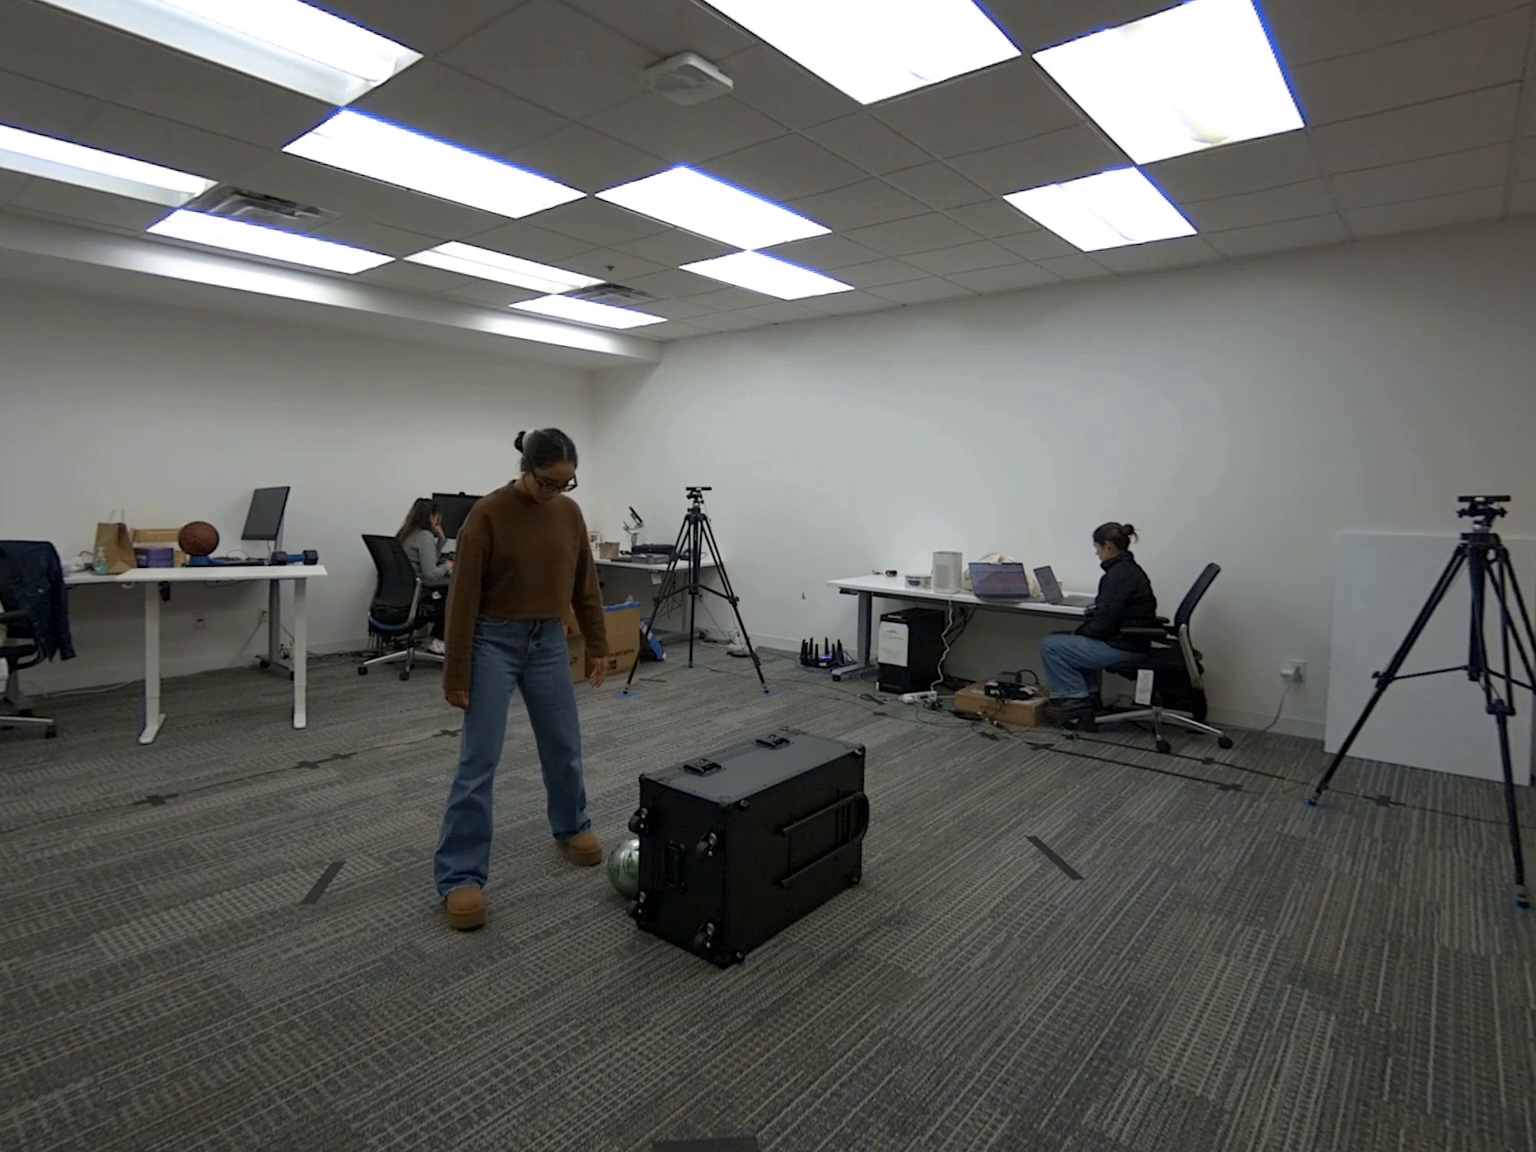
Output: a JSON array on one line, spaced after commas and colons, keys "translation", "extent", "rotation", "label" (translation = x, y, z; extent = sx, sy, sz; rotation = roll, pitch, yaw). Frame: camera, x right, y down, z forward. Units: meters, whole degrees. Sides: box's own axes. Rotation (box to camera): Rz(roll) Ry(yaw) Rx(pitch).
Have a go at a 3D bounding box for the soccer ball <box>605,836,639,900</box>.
[{"translation": [-0.461, 0.989, 2.891], "extent": [0.187, 0.187, 0.188], "rotation": [1, 4, -2], "label": "soccer ball"}]
